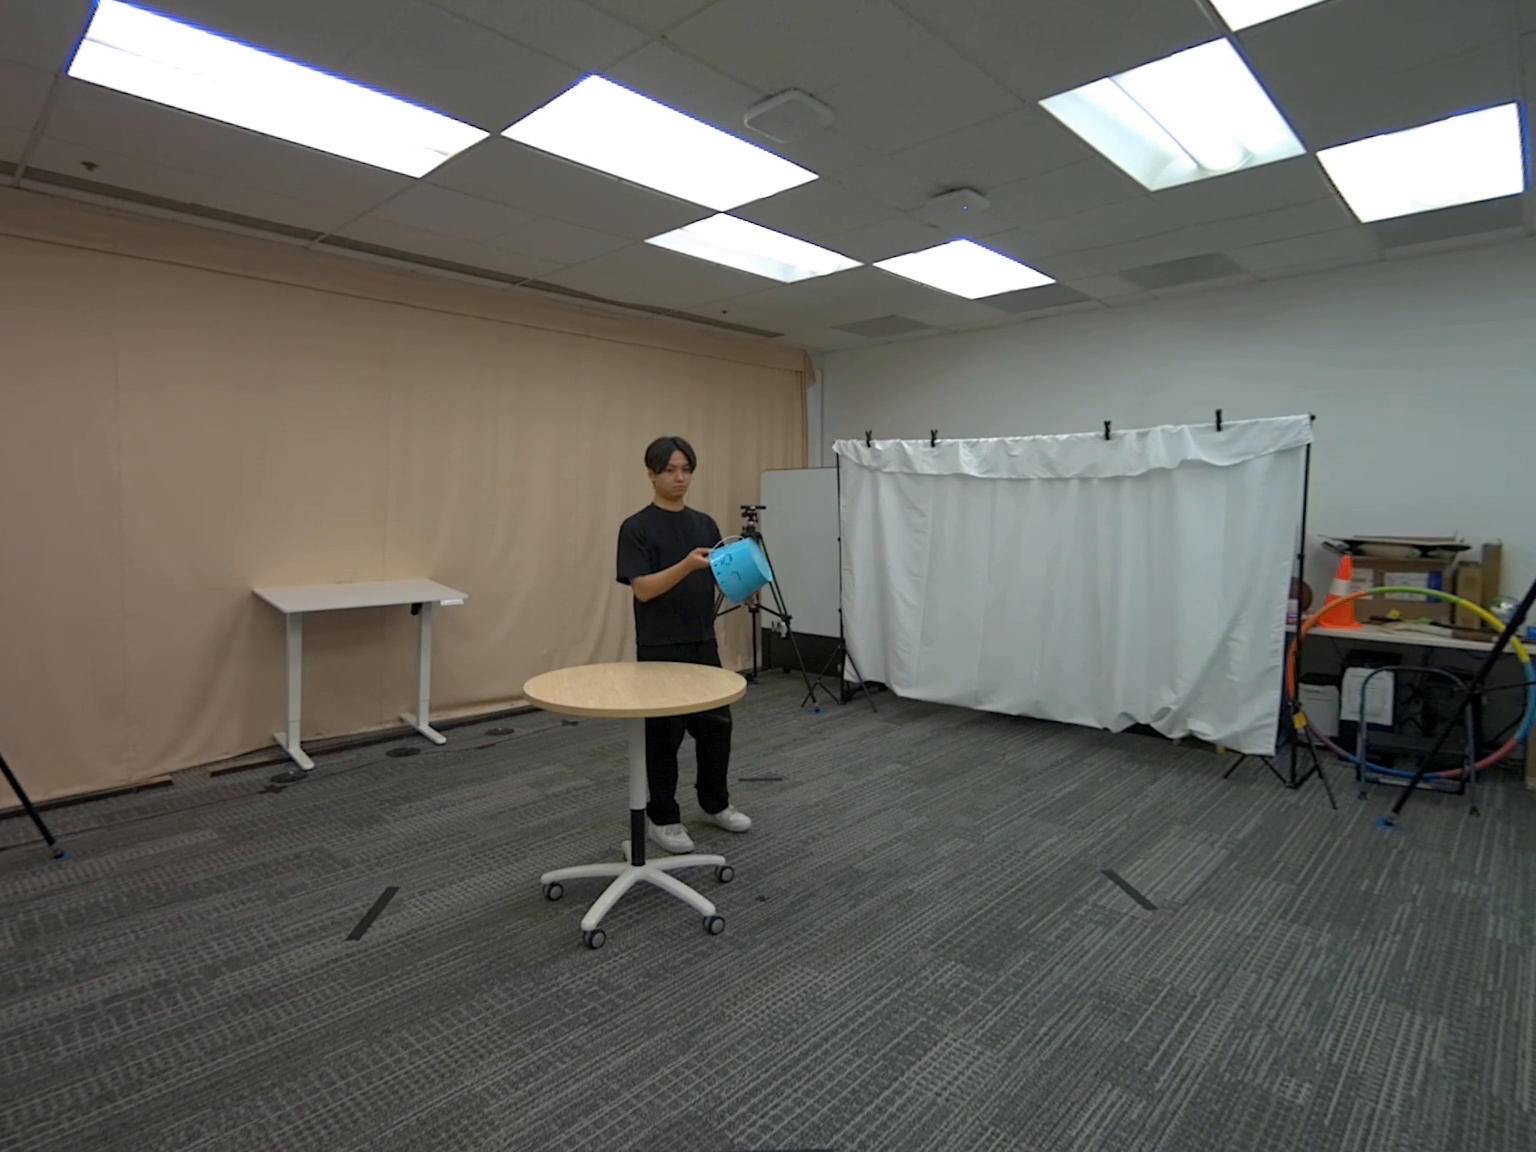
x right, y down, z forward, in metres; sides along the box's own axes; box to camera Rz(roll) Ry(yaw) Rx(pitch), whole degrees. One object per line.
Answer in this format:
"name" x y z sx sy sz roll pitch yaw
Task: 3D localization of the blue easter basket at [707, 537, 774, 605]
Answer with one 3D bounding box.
"blue easter basket" -0.094 -0.037 3.151 0.157 0.245 0.240 -27 -3 15
